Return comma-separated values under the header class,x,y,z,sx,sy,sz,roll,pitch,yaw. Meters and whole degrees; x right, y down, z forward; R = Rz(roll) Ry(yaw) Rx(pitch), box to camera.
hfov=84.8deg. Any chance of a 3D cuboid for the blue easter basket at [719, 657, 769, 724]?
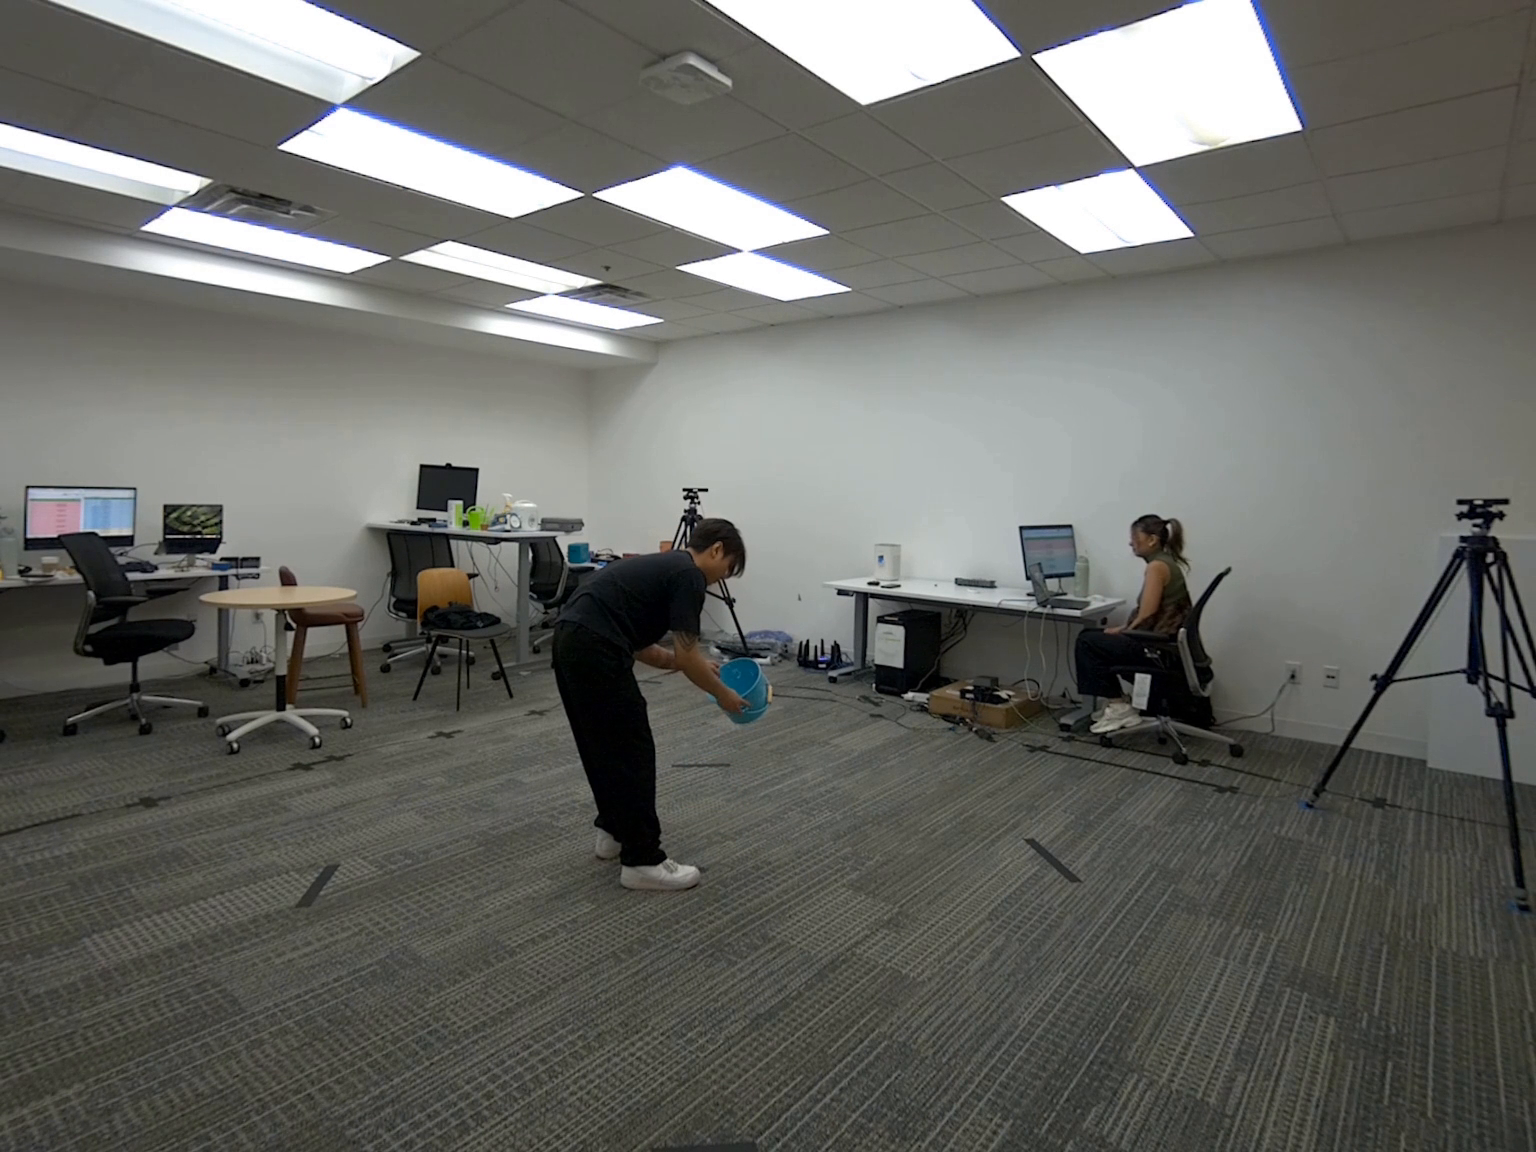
class,x,y,z,sx,sy,sz,roll,pitch,yaw
blue easter basket,-0.115,0.463,3.313,0.245,0.150,0.250,-22,31,11
